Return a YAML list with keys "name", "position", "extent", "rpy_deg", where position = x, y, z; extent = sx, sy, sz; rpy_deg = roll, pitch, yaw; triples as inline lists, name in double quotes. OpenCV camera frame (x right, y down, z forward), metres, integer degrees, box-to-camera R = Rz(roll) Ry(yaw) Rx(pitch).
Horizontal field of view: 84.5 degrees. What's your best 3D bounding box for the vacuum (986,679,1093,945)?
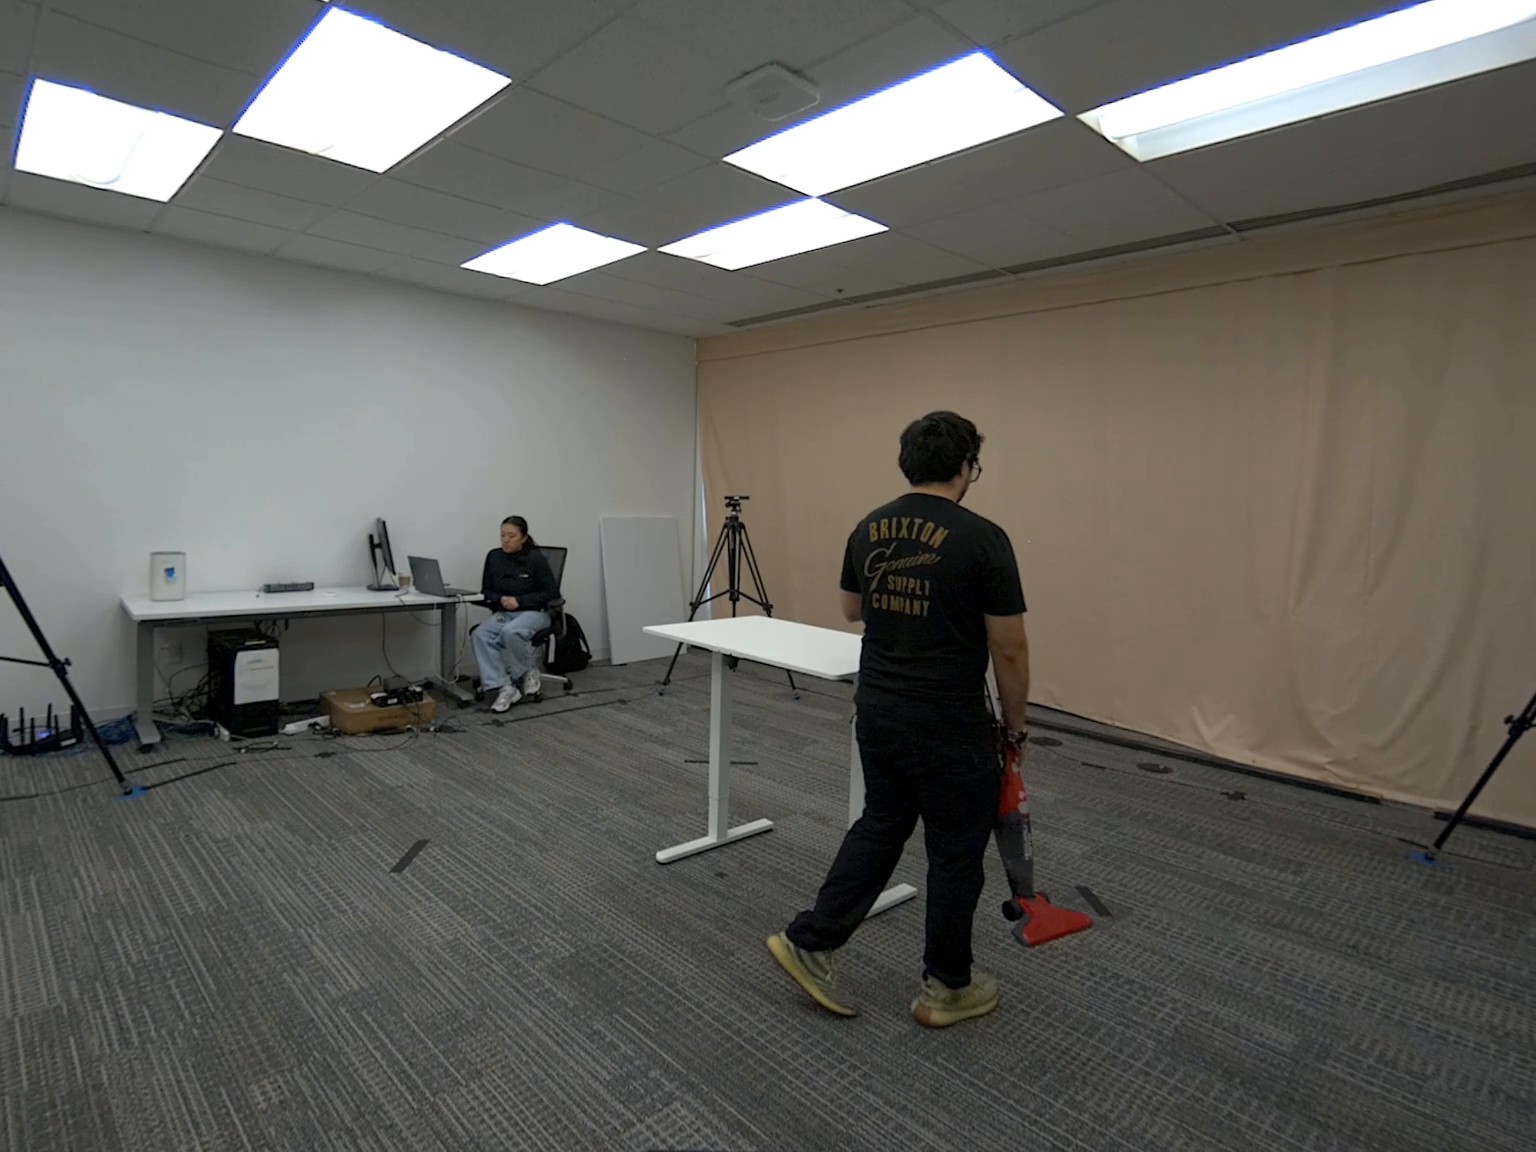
- name: "vacuum"
  position: [0.635, 0.412, 2.373]
  extent: [0.247, 1.065, 0.144]
  rpy_deg: [1, -21, -28]
